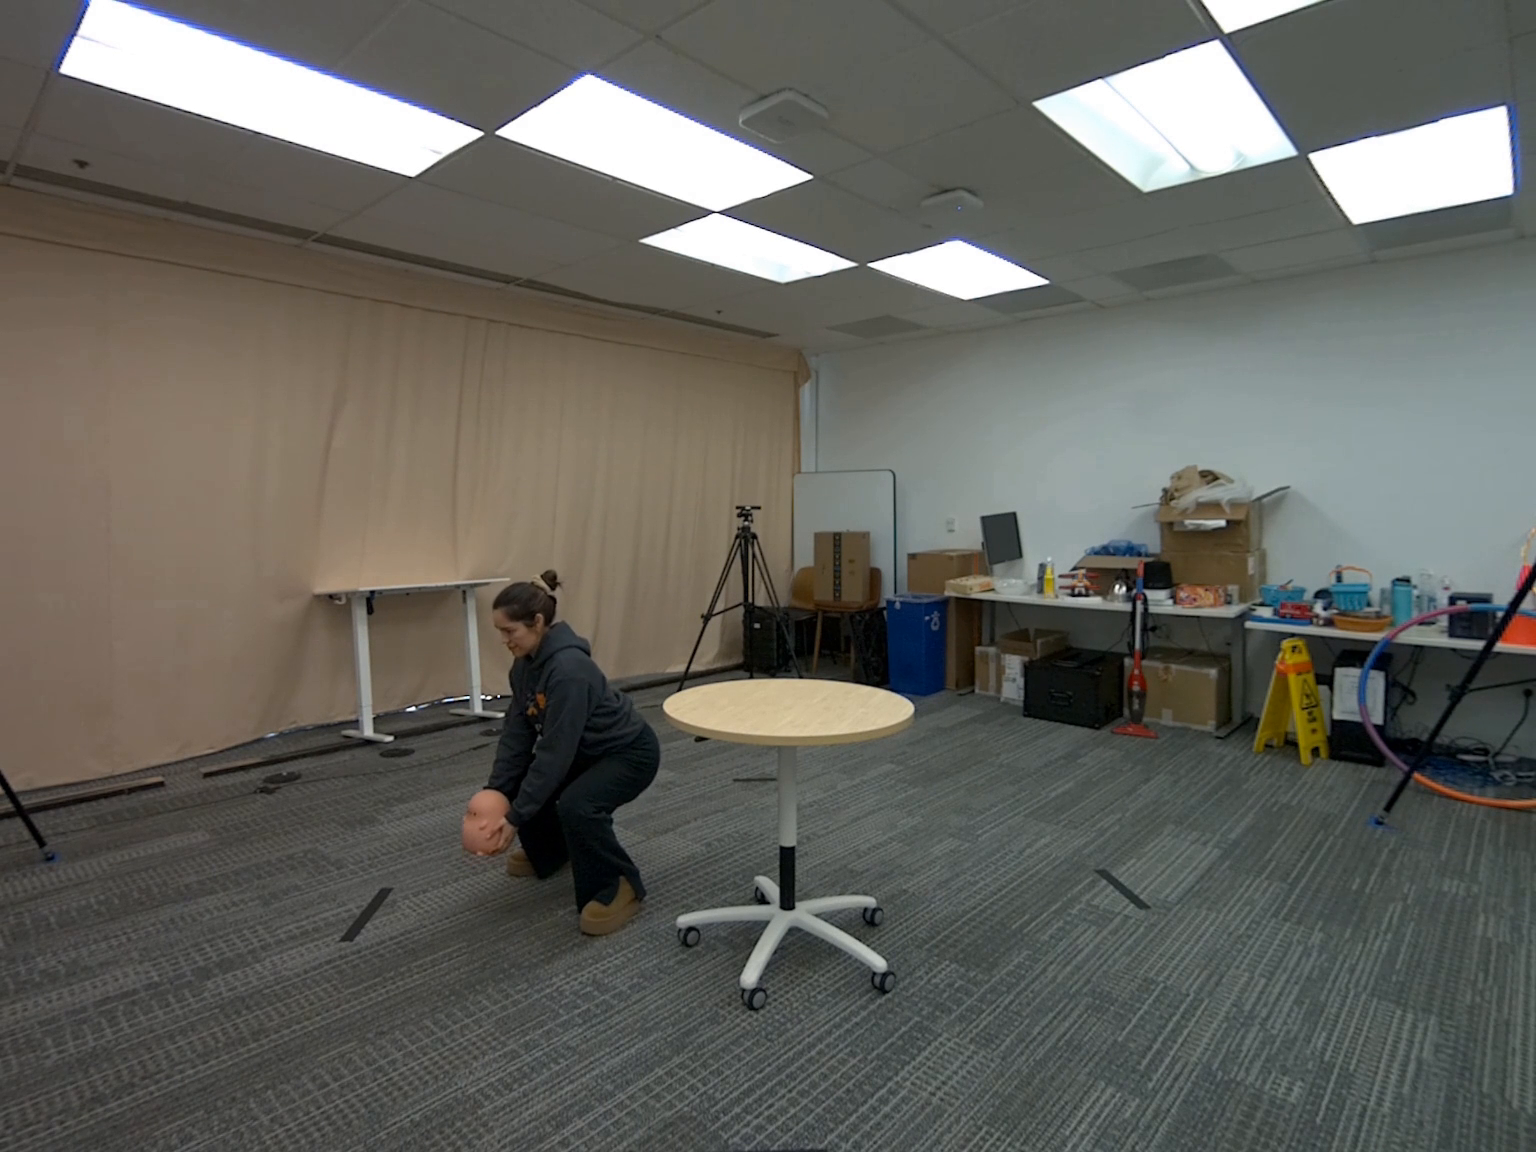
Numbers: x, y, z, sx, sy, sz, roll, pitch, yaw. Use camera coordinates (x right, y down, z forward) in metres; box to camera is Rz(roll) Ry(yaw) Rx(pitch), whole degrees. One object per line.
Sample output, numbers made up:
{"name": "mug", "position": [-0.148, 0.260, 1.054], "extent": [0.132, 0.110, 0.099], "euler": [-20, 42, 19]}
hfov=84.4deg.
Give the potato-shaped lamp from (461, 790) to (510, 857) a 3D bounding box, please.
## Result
{"name": "potato-shaped lamp", "position": [-0.933, 0.817, 2.841], "extent": [0.170, 0.197, 0.166], "euler": [1, 5, 45]}
